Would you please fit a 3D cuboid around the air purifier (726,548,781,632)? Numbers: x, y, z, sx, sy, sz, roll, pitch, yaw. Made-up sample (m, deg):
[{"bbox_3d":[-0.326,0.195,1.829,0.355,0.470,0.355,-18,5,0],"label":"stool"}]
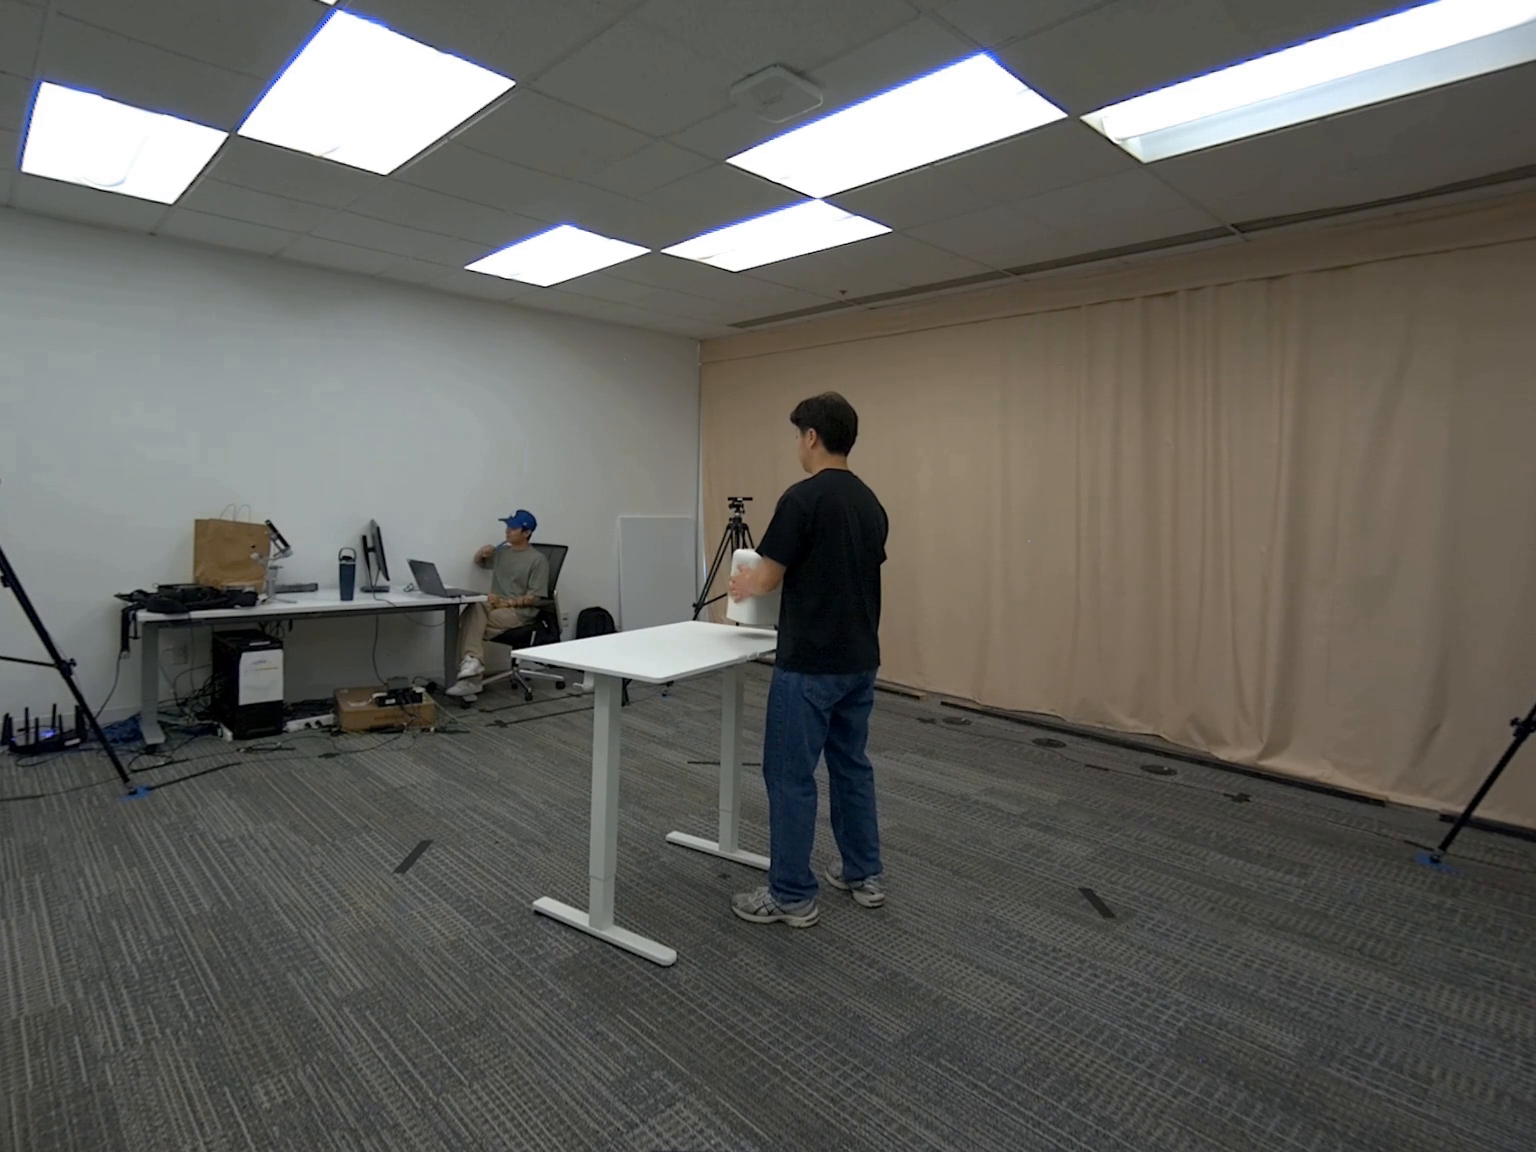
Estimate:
[{"bbox_3d":[-0.045,0.041,3.129,0.167,0.265,0.176,1,6,-44],"label":"air purifier"}]
